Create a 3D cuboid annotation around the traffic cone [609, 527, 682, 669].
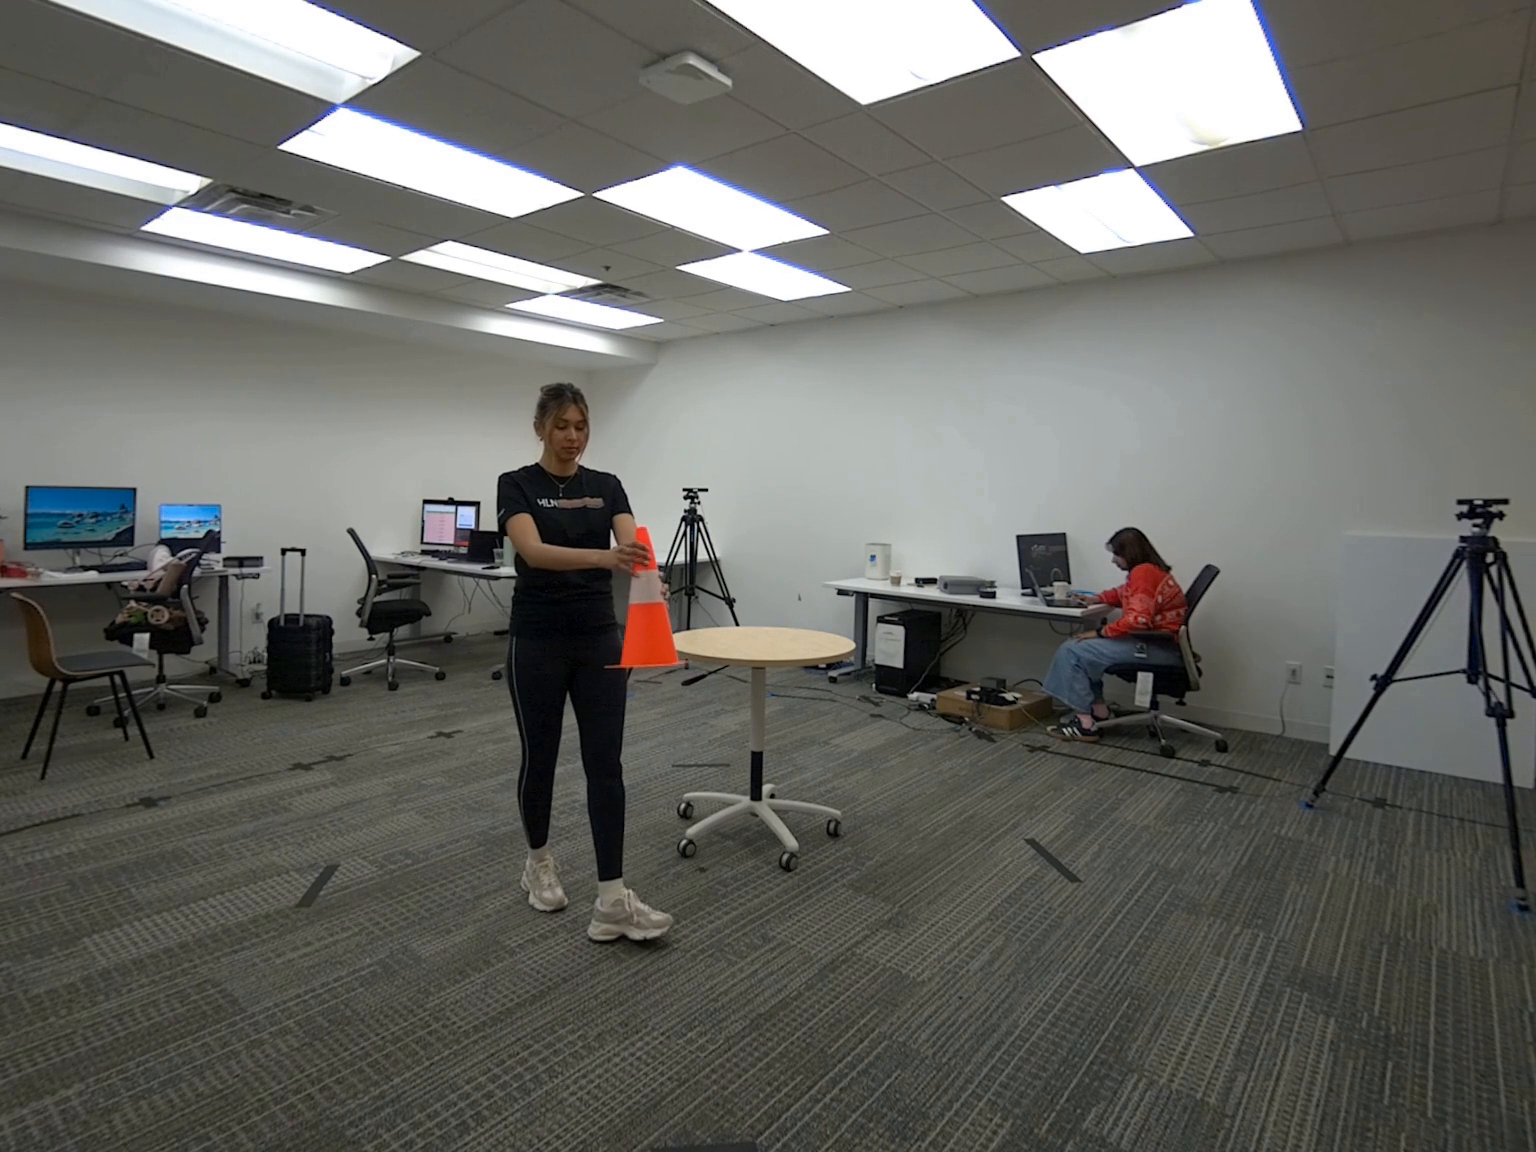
[{"bbox_3d":[-0.338,0.054,2.335,0.209,0.385,0.198,-5,-4,21],"label":"traffic cone"}]
